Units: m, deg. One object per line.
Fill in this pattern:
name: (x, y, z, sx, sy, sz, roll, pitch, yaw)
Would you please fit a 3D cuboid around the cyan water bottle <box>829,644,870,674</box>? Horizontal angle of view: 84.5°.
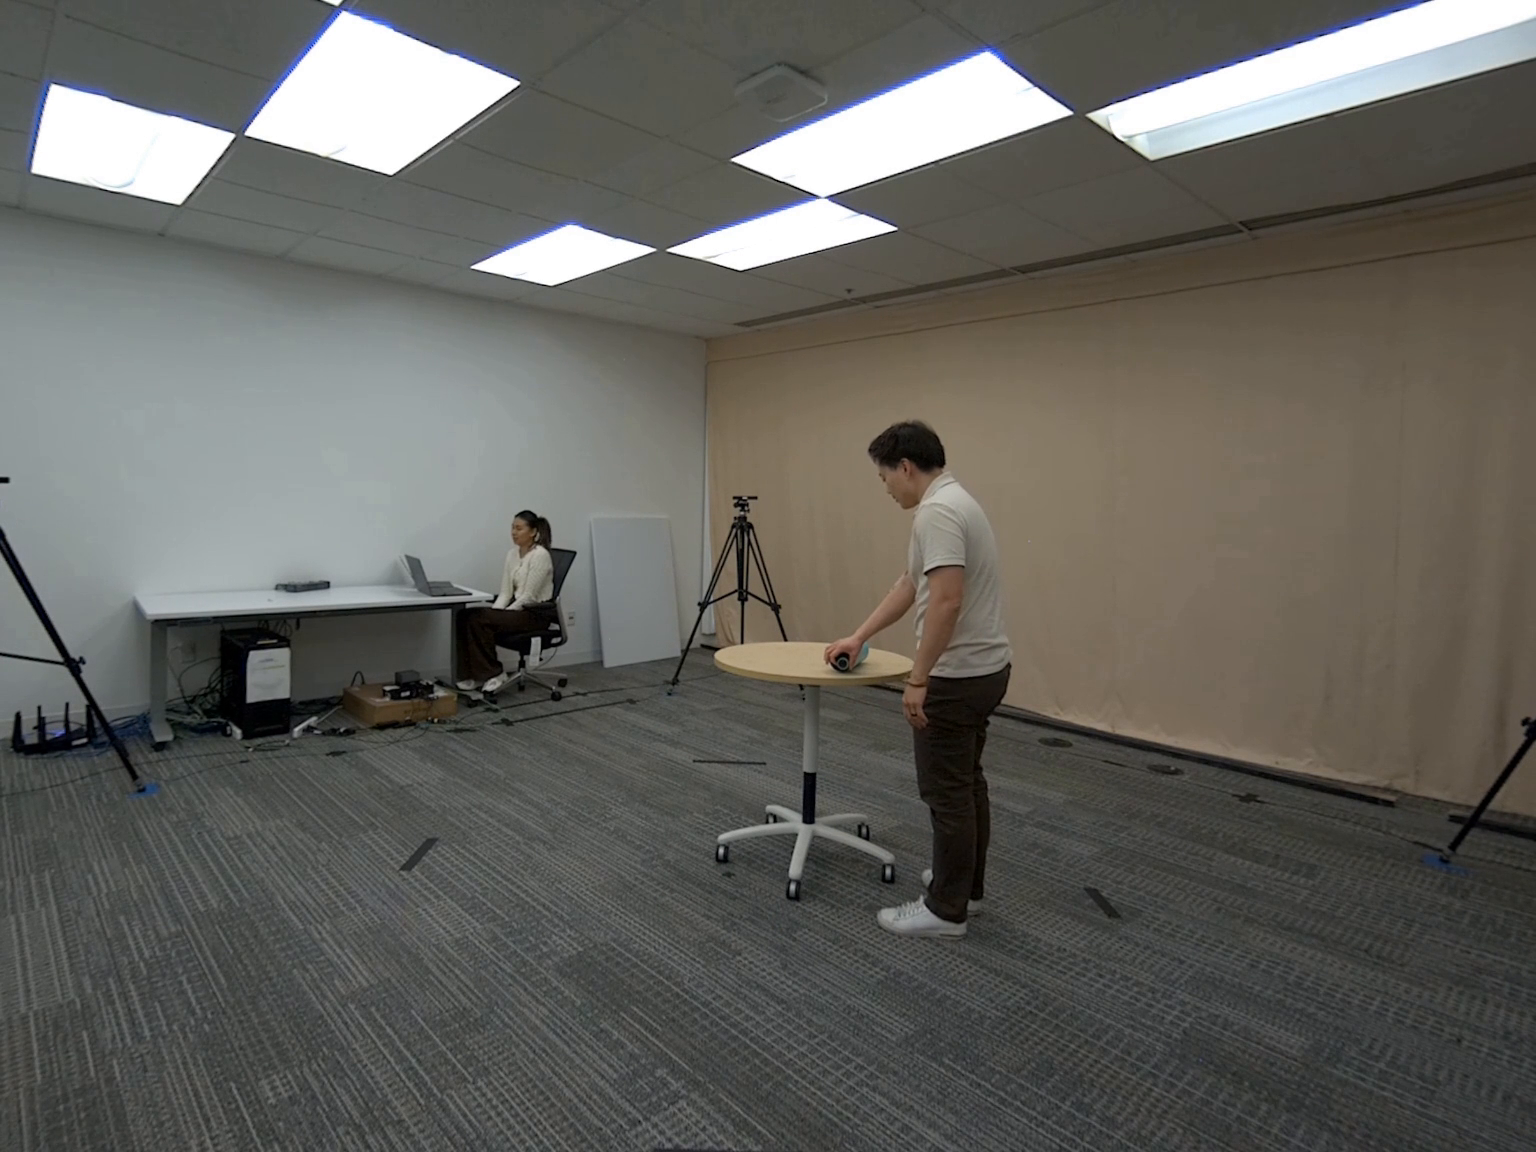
cyan water bottle: (0.290, 0.291, 3.062, 0.094, 0.092, 0.280, 3, 5, 19)
